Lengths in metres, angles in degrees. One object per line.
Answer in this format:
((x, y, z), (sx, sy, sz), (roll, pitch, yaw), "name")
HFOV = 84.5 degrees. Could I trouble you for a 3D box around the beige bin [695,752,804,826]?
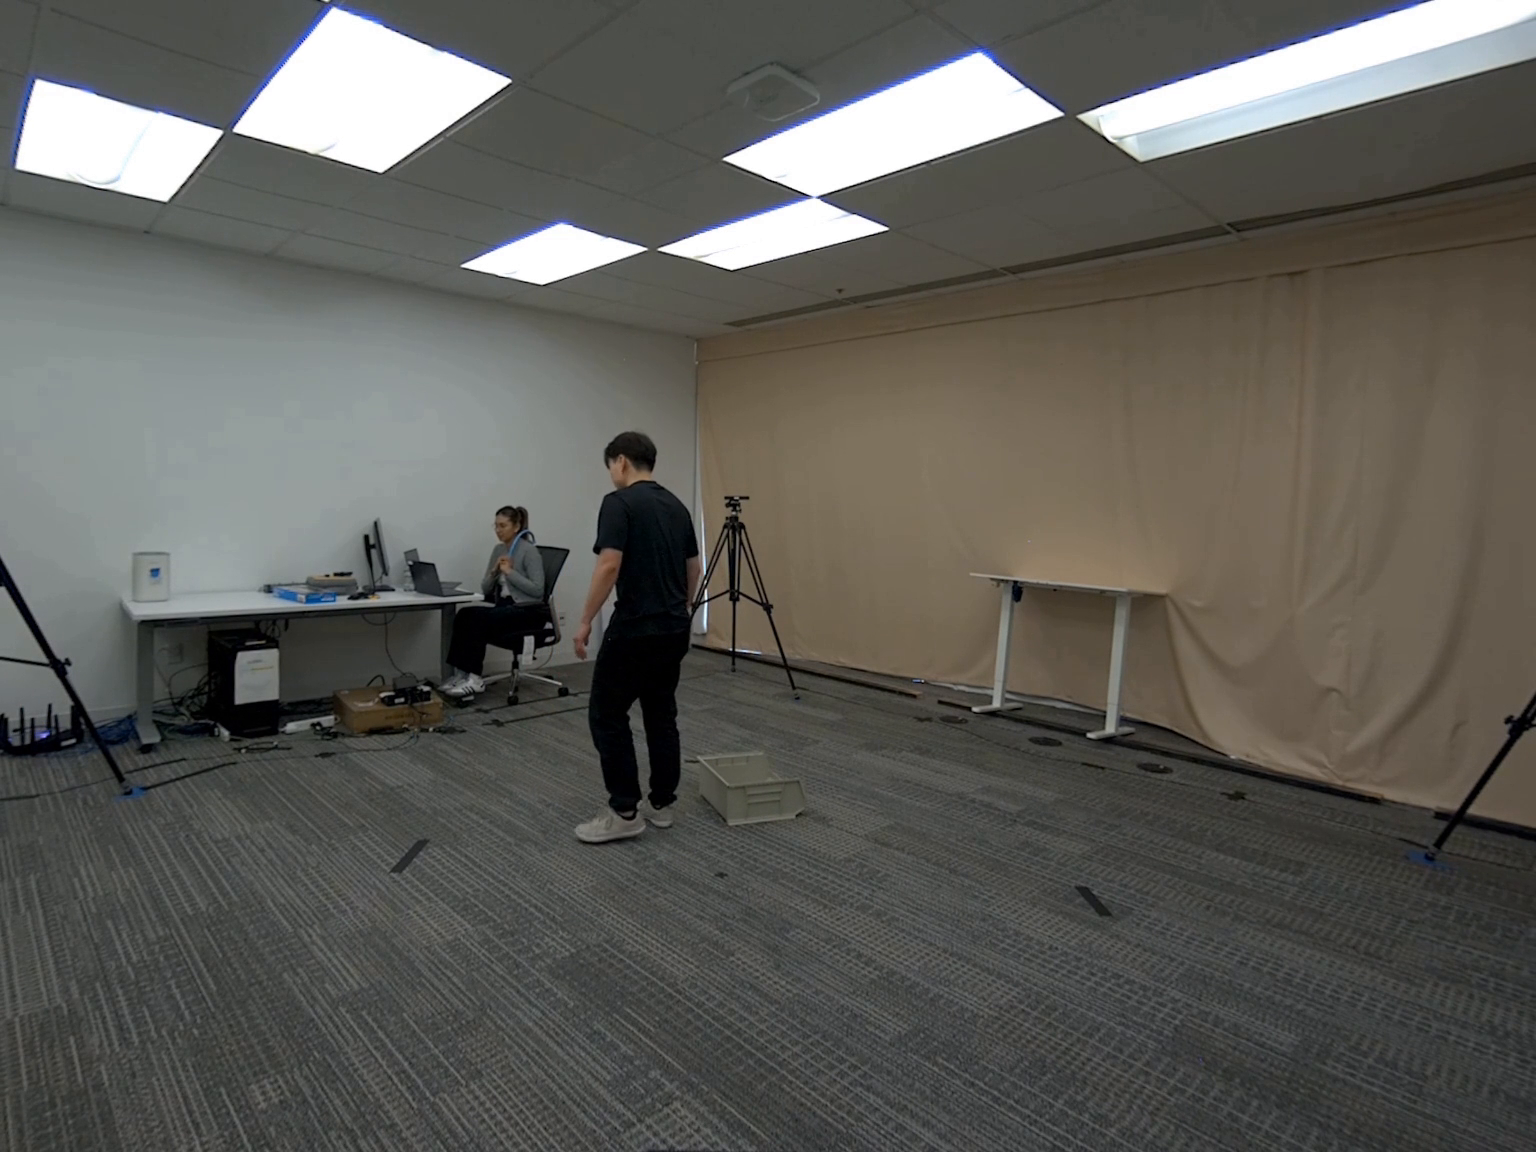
((-0.085, 0.958, 3.832), (0.371, 0.188, 0.430), (-1, 6, -22), "beige bin")
